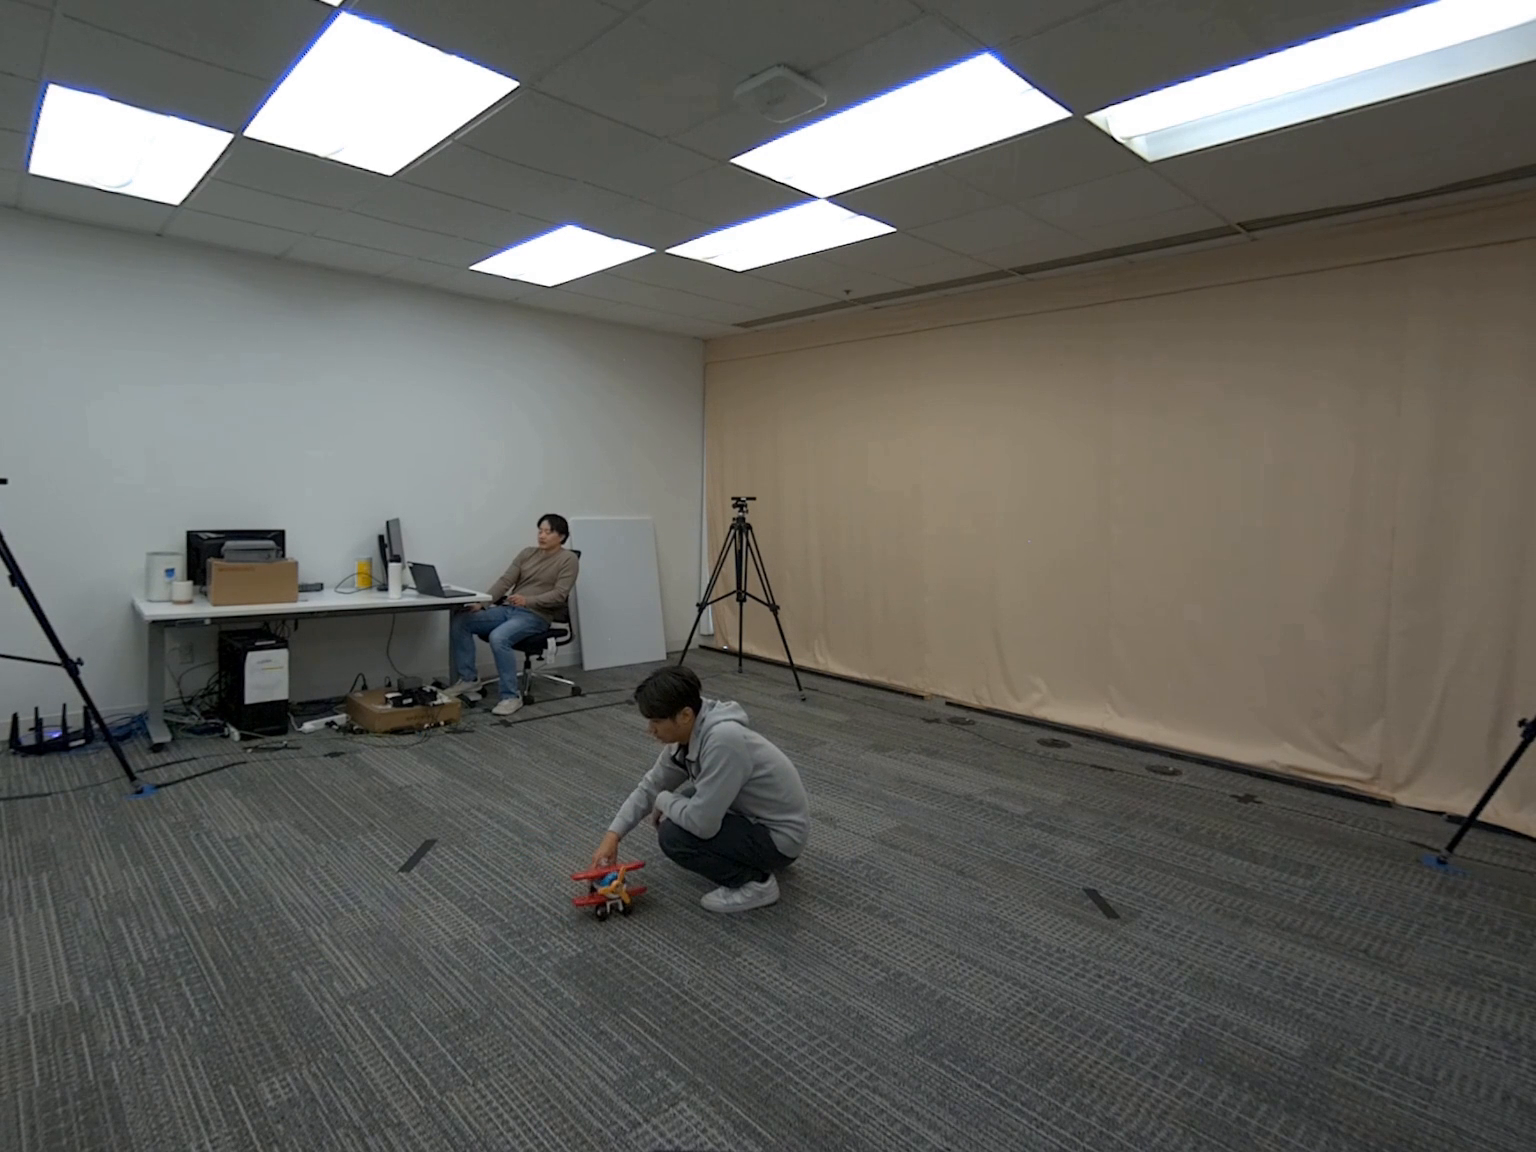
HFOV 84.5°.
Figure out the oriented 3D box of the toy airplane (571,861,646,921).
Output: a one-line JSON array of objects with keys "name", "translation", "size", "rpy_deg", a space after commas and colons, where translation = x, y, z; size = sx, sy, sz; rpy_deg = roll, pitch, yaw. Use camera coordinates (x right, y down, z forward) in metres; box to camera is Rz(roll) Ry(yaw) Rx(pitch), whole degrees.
[{"name": "toy airplane", "translation": [-0.569, 1.044, 2.843], "size": [0.265, 0.156, 0.246], "rpy_deg": [5, 6, 36]}]
